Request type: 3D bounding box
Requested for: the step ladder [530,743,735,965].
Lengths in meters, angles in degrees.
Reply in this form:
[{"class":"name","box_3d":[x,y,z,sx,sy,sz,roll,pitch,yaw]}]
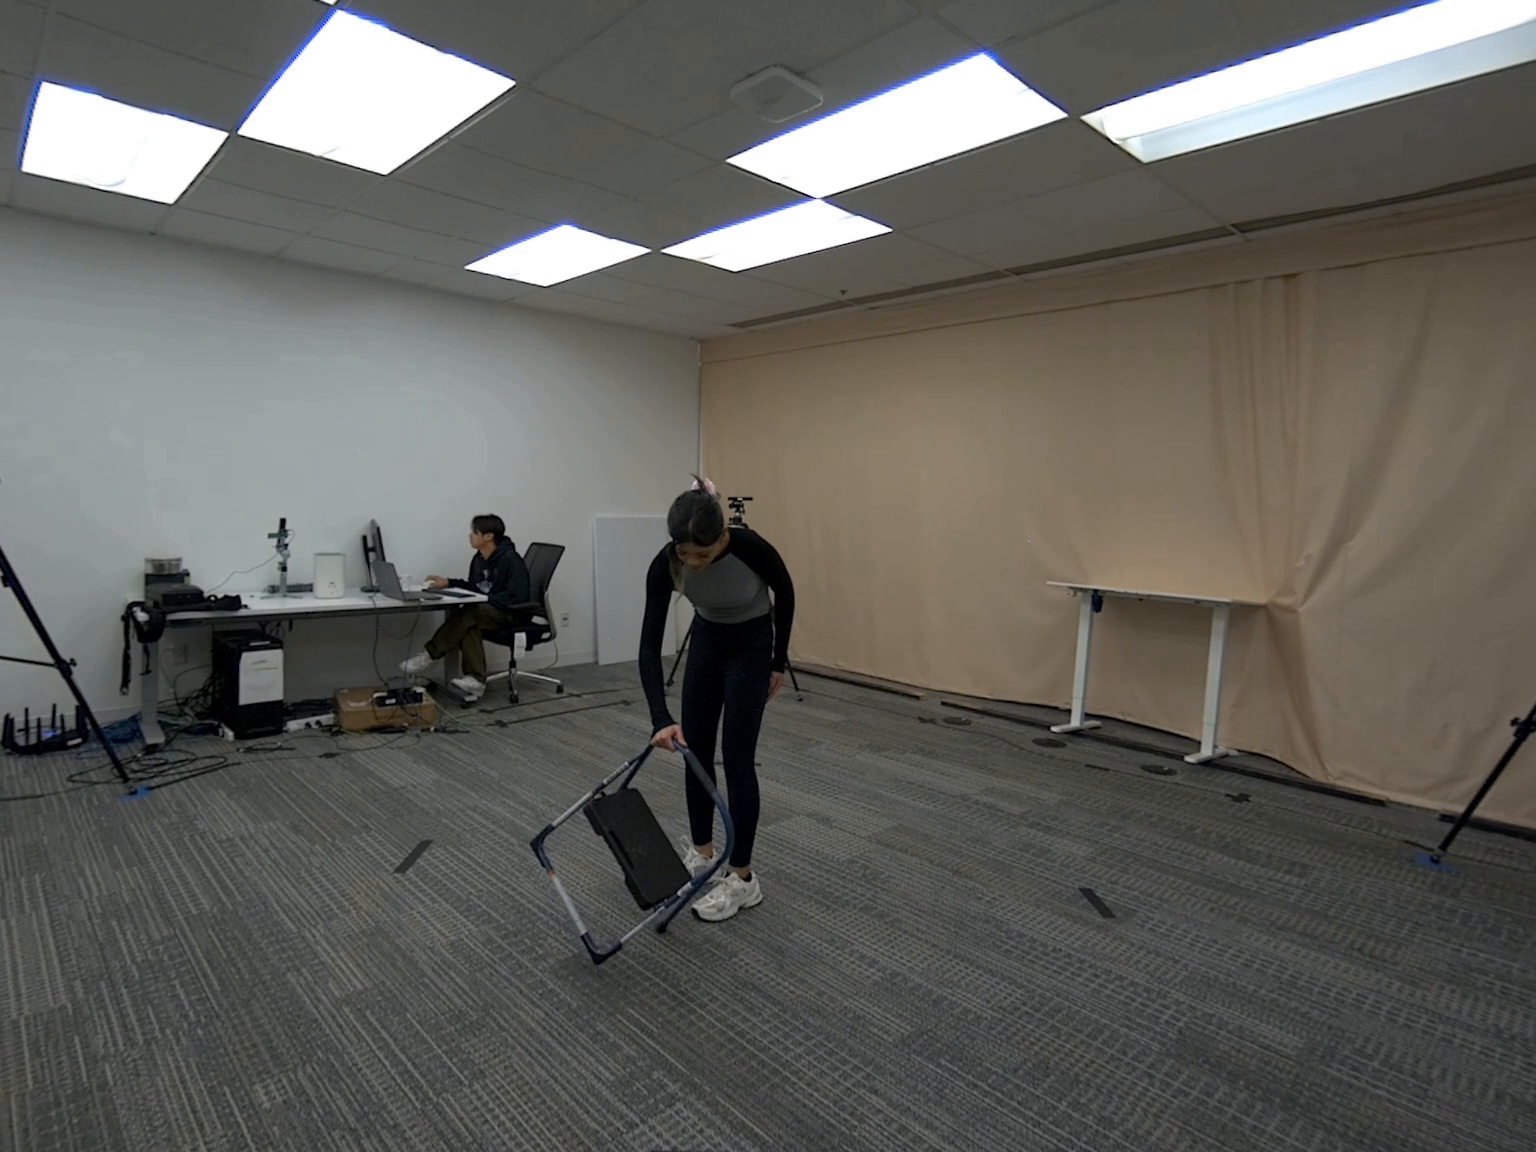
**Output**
[{"class":"step ladder","box_3d":[-0.350,0.776,2.535,0.440,0.606,0.341,51,21,21]}]
